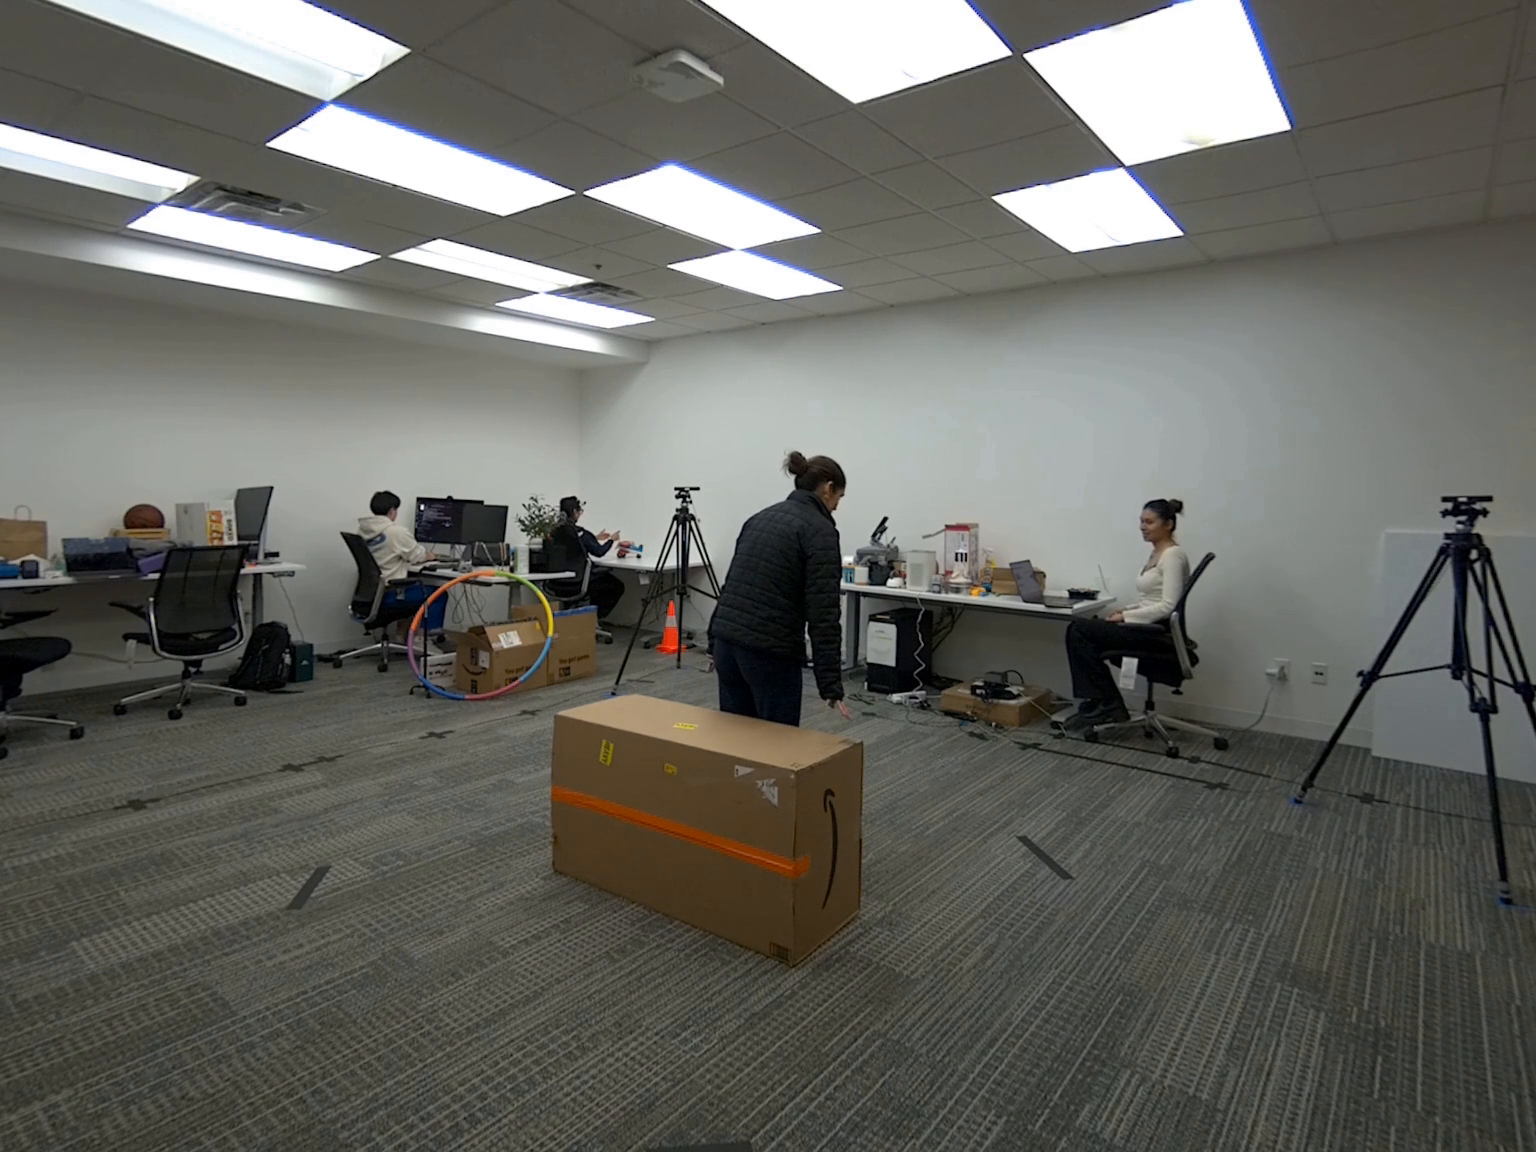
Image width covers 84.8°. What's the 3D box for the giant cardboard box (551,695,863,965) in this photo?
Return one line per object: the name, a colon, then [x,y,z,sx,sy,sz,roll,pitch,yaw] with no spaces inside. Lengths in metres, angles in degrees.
giant cardboard box: [-0.222,0.798,2.933,1.059,0.576,0.414,4,4,36]
